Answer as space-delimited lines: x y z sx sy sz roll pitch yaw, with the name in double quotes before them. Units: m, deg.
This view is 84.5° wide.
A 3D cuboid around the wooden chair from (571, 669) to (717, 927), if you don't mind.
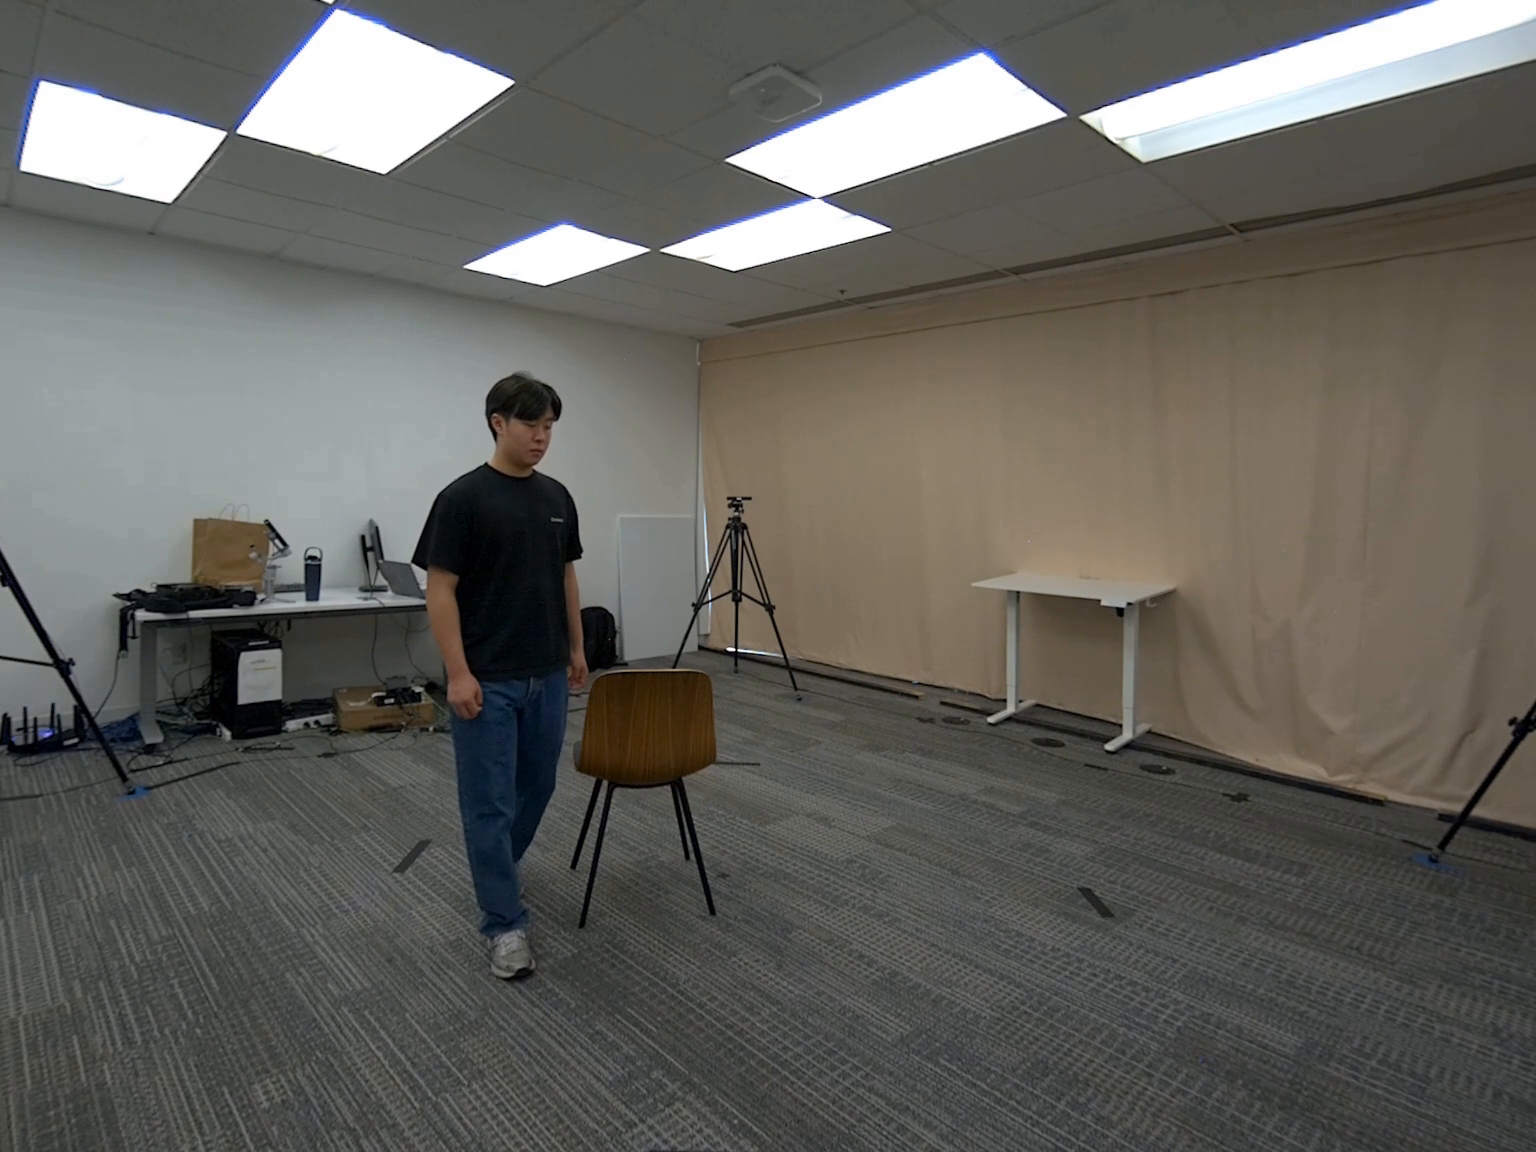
"wooden chair" -0.446 0.690 2.943 0.472 0.873 0.532 0 8 -15
